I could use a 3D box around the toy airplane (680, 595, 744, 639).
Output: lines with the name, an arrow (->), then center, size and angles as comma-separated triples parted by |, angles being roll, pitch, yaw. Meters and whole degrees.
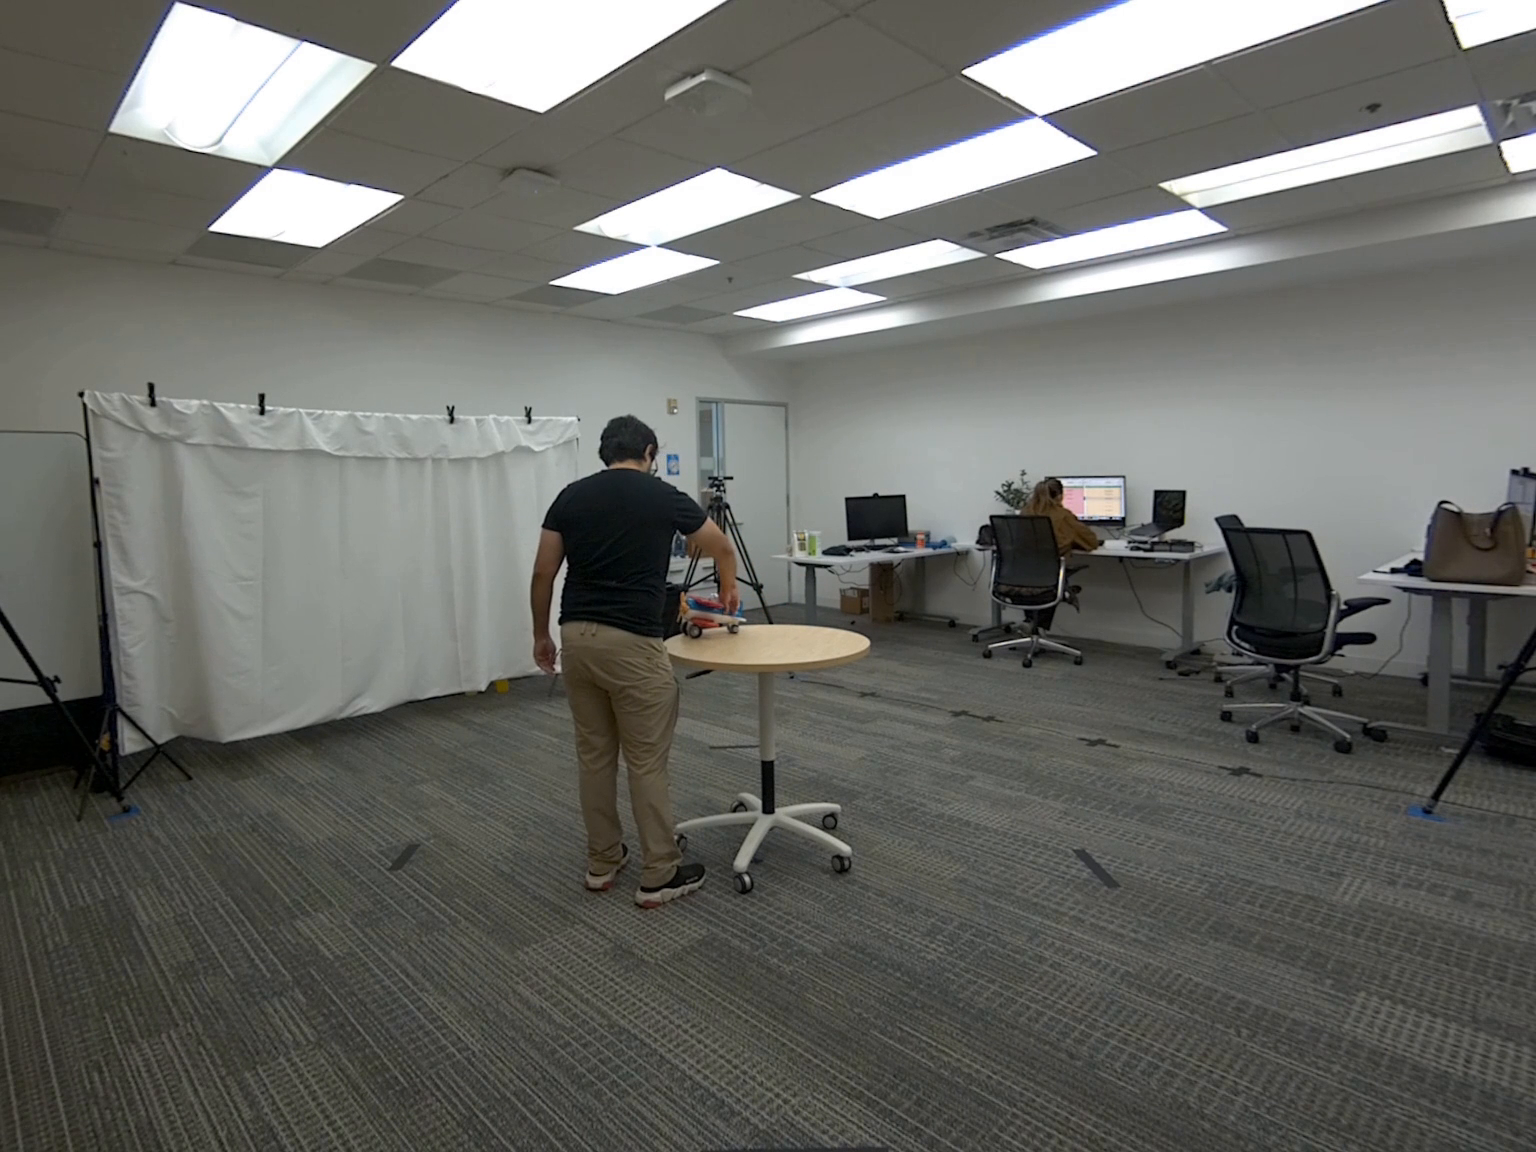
toy airplane -> -0.231, 0.154, 3.350 | 0.259, 0.156, 0.253 | 3, 8, 40
